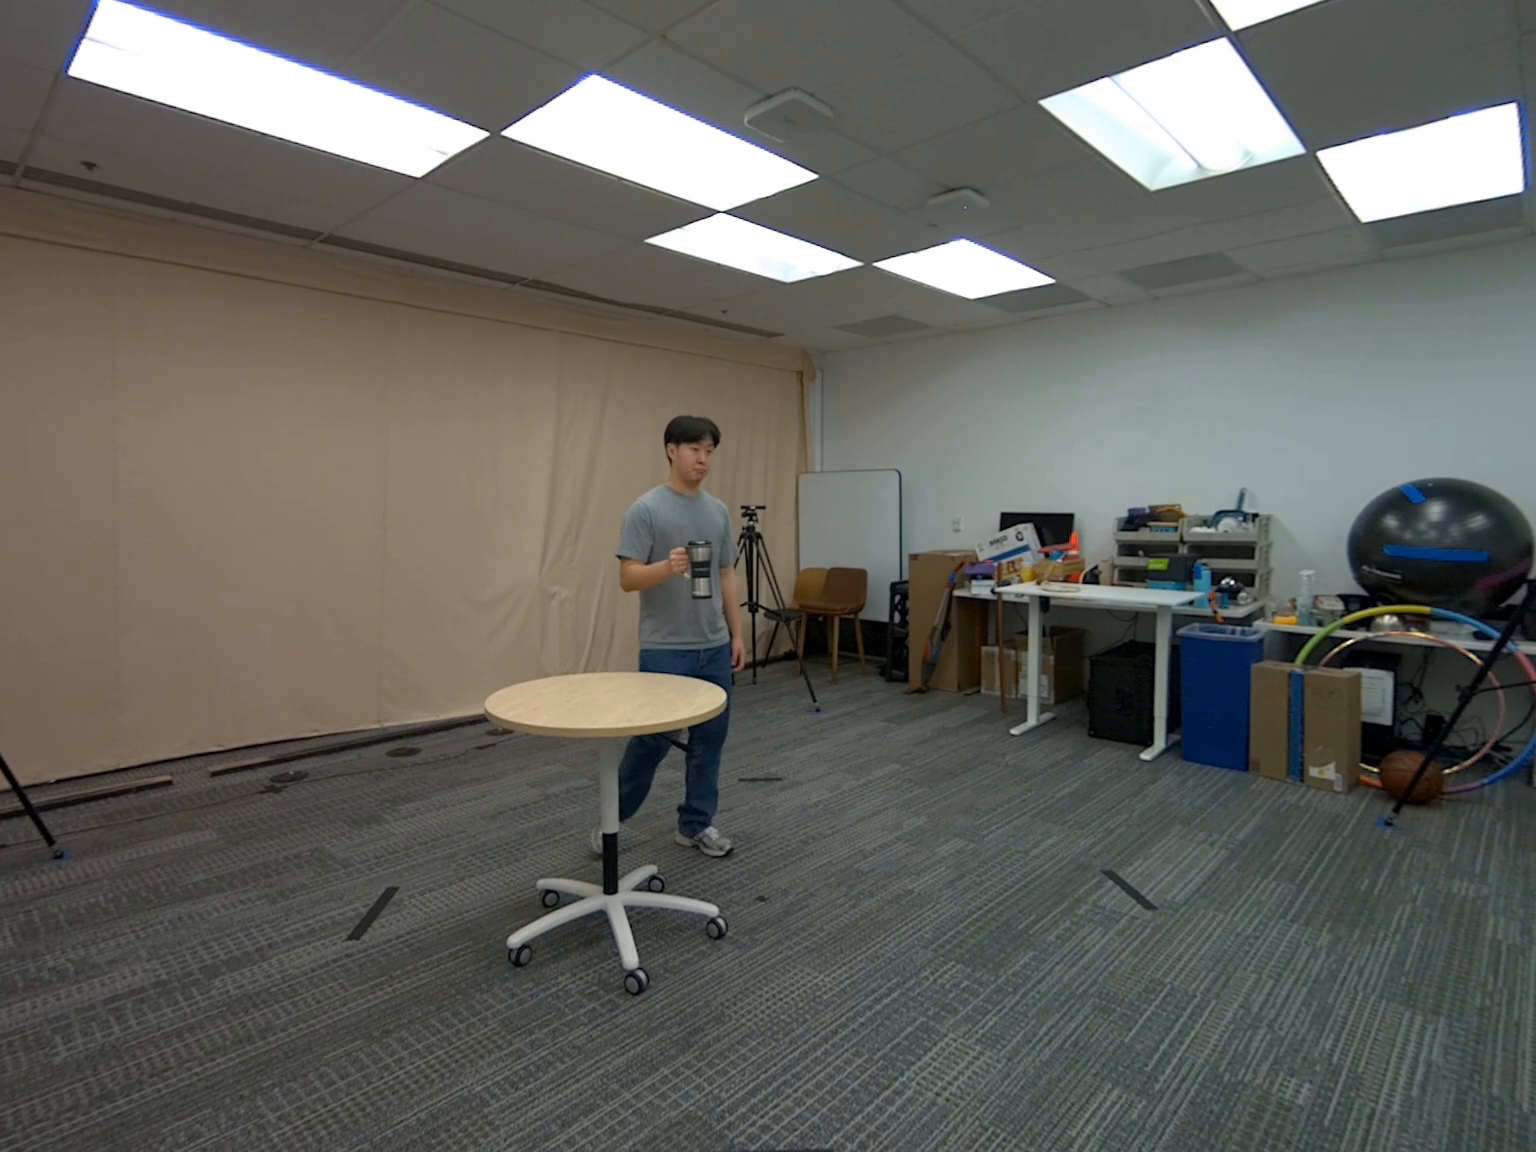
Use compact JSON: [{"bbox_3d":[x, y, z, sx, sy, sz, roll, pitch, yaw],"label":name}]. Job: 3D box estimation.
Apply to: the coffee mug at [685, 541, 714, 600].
[{"bbox_3d":[-0.266,-0.017,2.978,0.087,0.202,0.123,-9,3,-7],"label":"coffee mug"}]
